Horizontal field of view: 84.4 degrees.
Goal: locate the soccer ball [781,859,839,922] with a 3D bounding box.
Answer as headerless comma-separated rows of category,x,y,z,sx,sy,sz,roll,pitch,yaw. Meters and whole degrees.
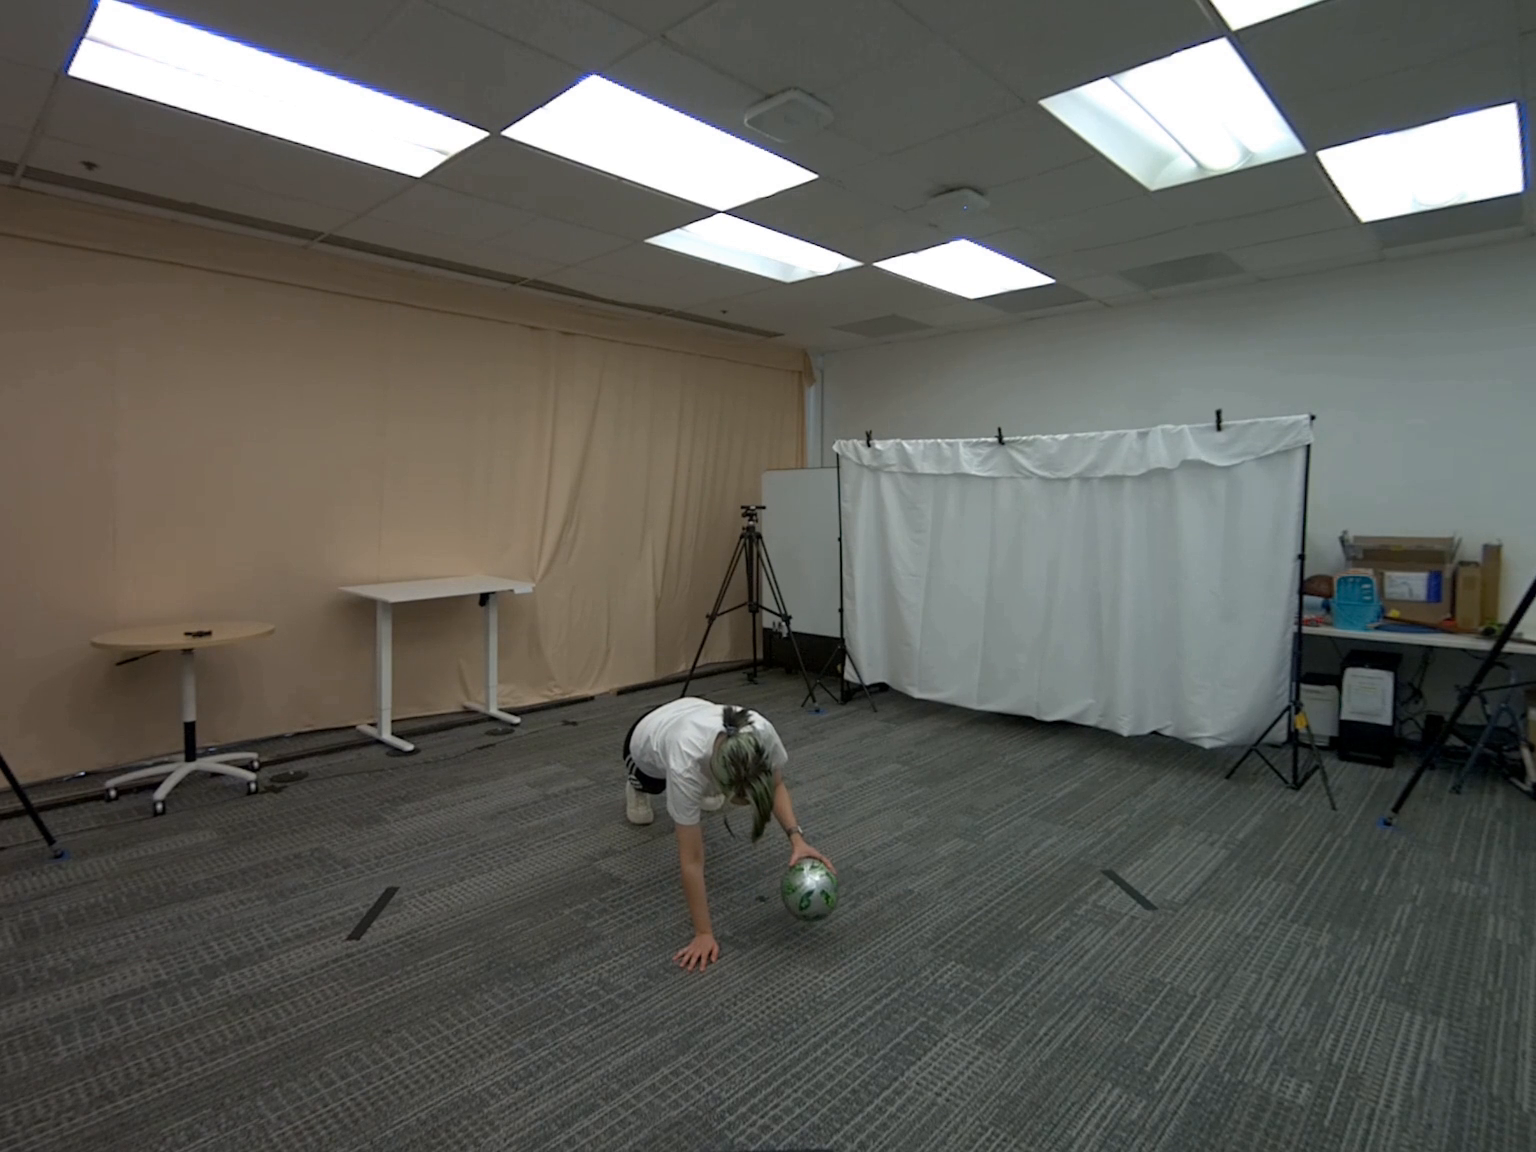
soccer ball,0.124,1.011,2.675,0.187,0.187,0.188,0,4,-2
